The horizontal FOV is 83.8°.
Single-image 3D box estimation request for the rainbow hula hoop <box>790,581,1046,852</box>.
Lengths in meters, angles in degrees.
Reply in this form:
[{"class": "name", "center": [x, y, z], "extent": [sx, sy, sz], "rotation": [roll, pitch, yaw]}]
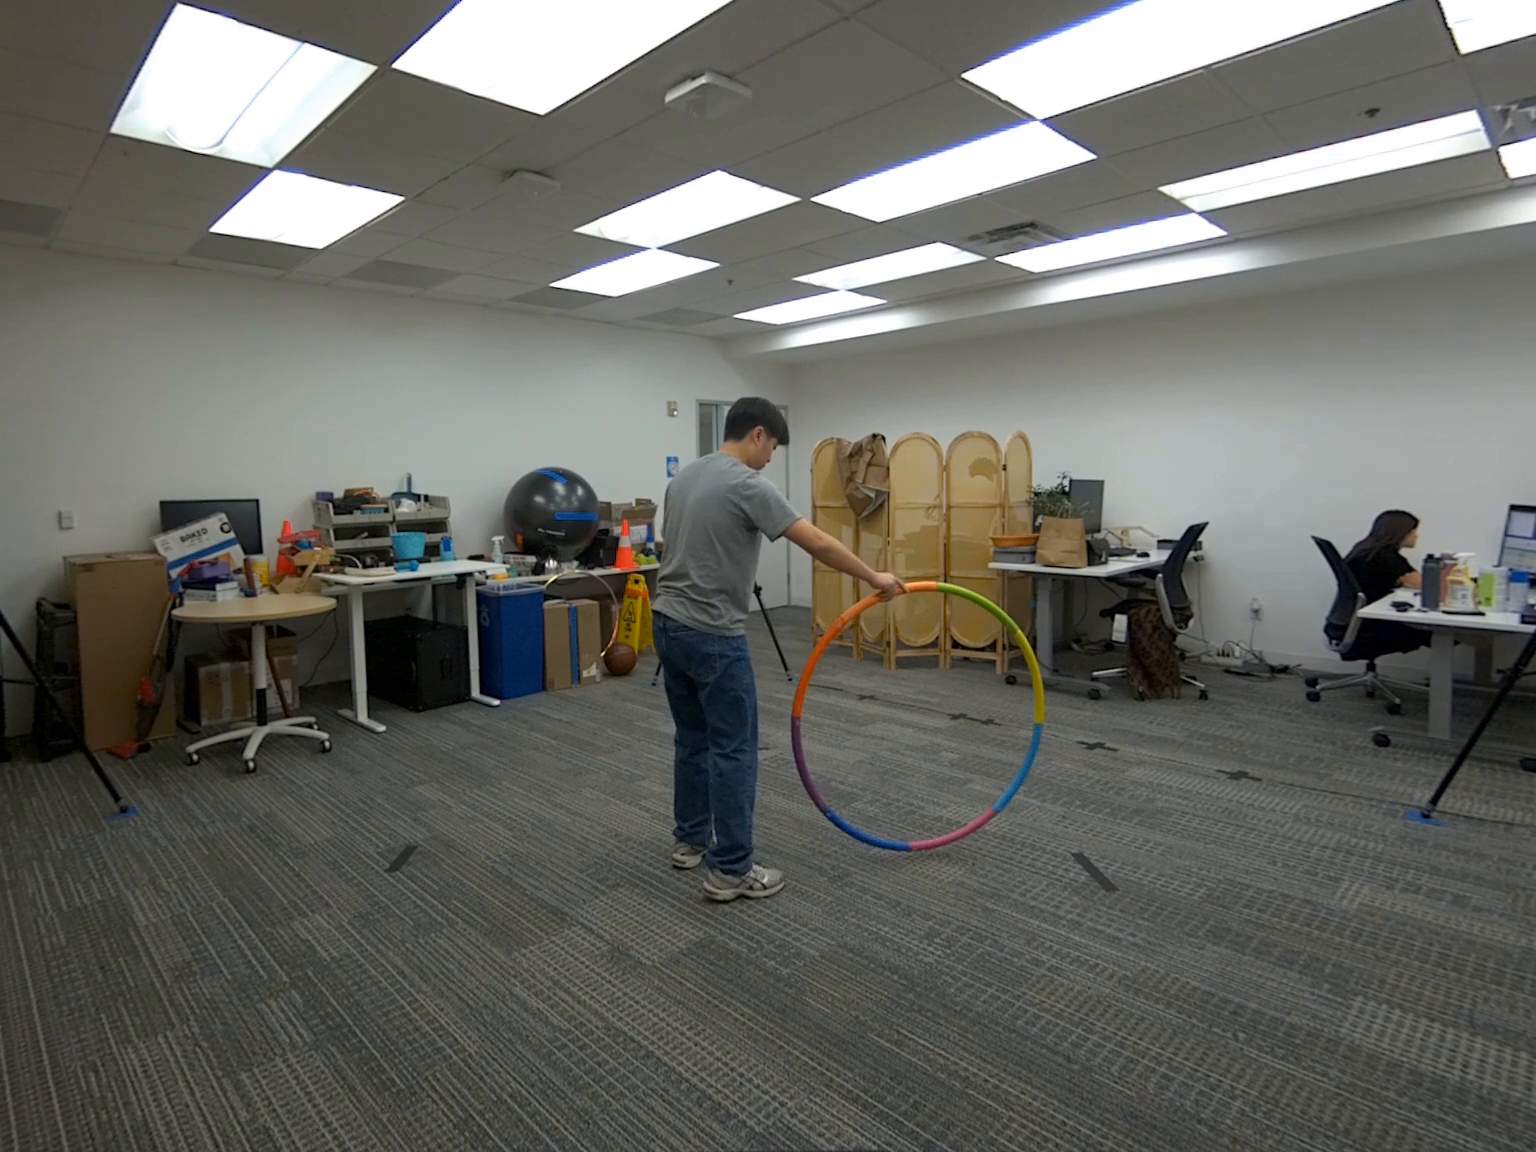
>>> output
[{"class": "rainbow hula hoop", "center": [0.532, 0.517, 3.072], "extent": [0.968, 0.973, 0.036], "rotation": [-2, 6, -11]}]
